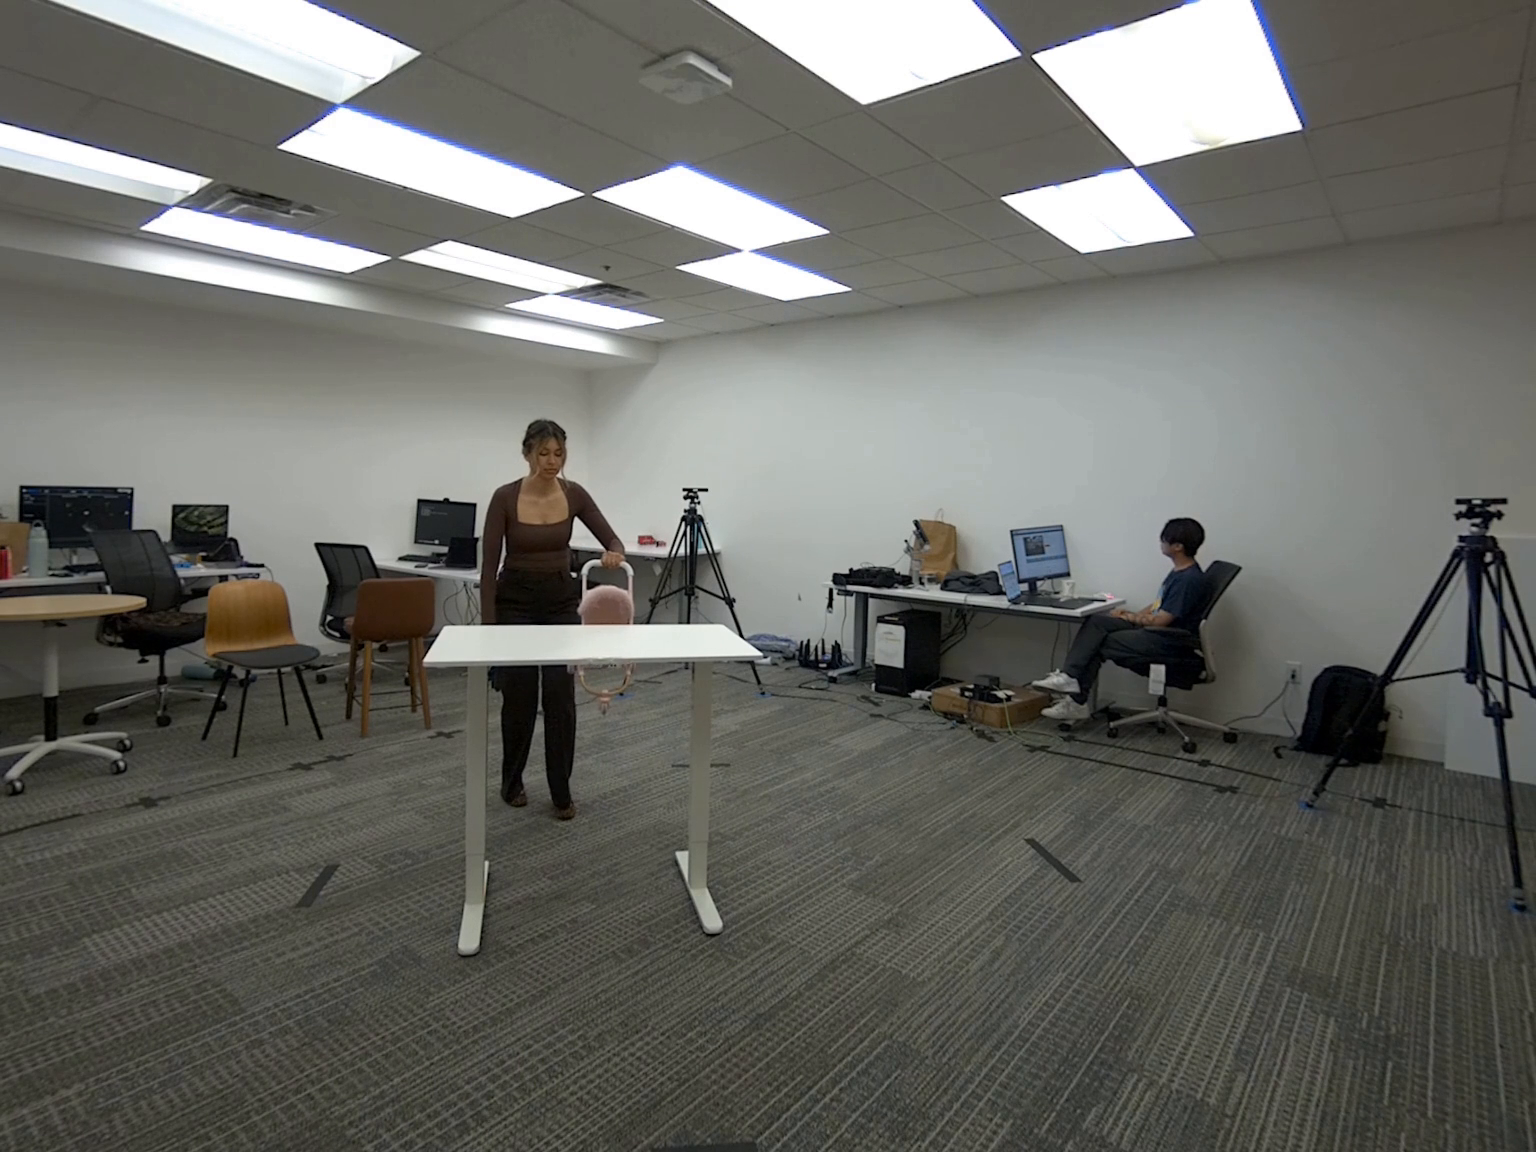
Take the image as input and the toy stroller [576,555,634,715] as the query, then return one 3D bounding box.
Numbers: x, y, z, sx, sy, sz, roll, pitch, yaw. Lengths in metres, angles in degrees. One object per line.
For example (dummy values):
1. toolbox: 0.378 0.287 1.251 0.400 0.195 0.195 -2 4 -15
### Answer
1. toy stroller: -0.666 0.245 3.396 0.278 0.528 0.350 5 18 -11
